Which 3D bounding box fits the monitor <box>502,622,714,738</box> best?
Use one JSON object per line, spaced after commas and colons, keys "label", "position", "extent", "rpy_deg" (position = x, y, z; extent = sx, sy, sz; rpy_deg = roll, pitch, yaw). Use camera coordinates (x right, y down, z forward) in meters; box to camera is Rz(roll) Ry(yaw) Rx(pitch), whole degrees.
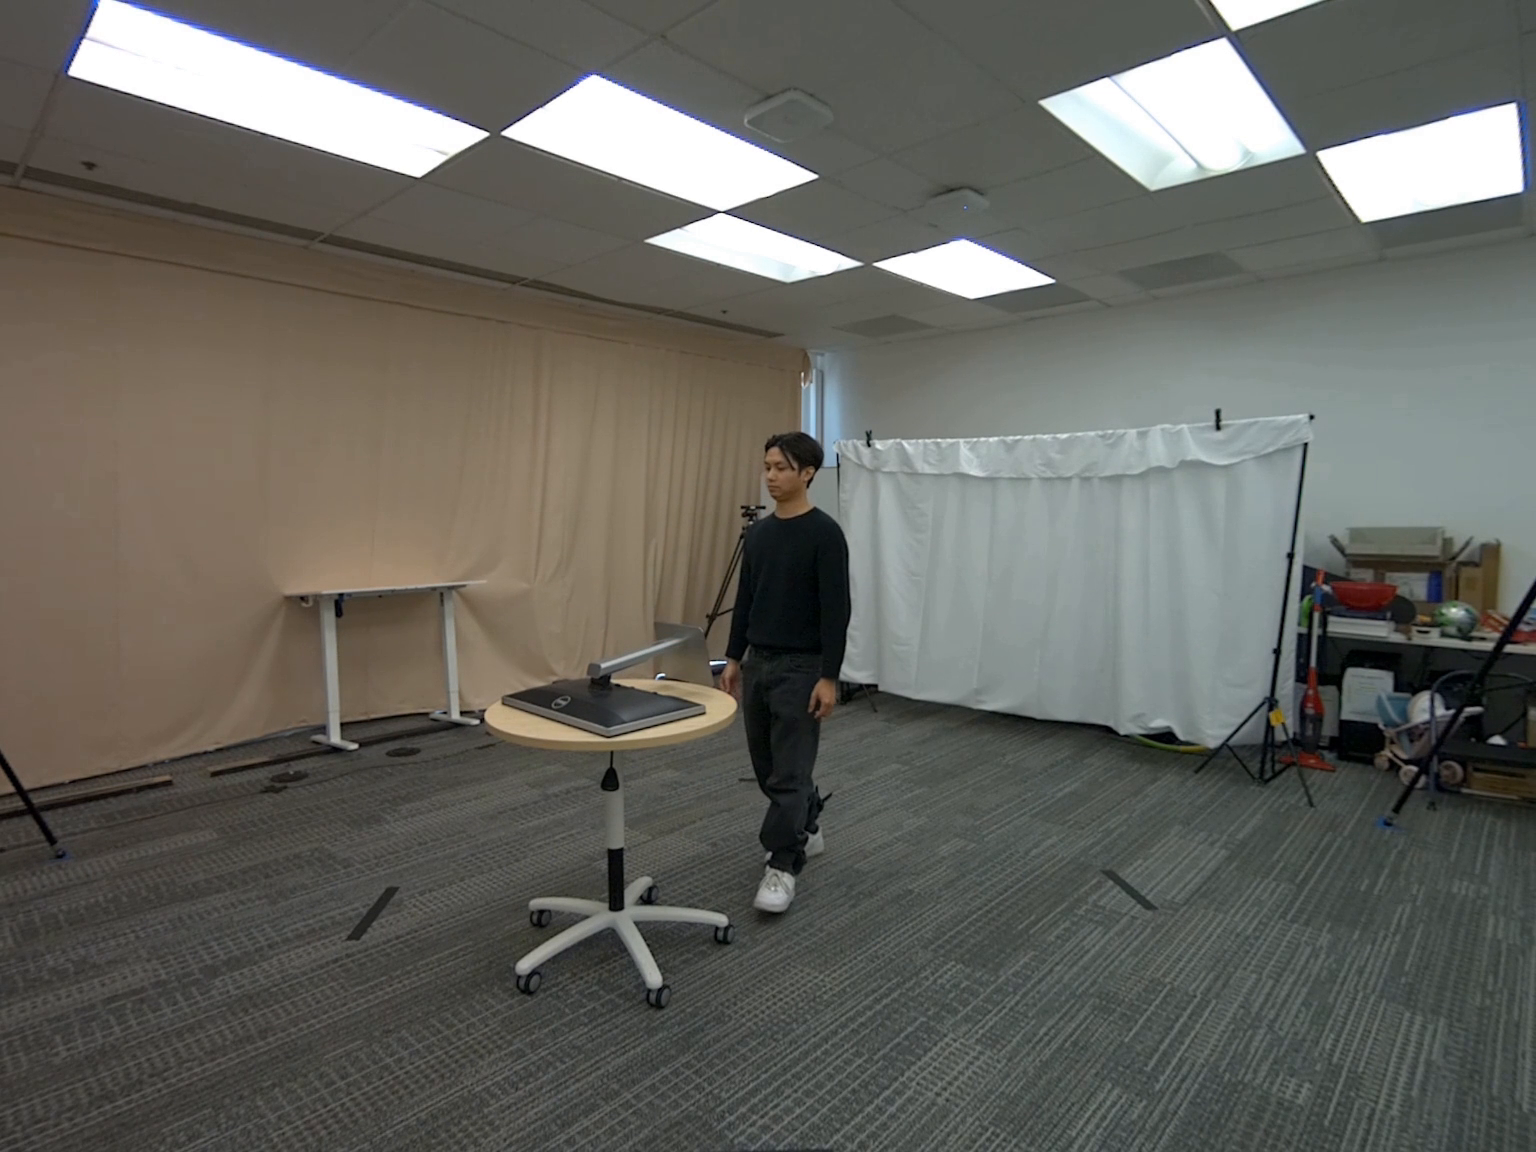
{"label": "monitor", "position": [-0.464, 0.331, 2.592], "extent": [0.557, 0.185, 0.511], "rpy_deg": [2, 19, 45]}
